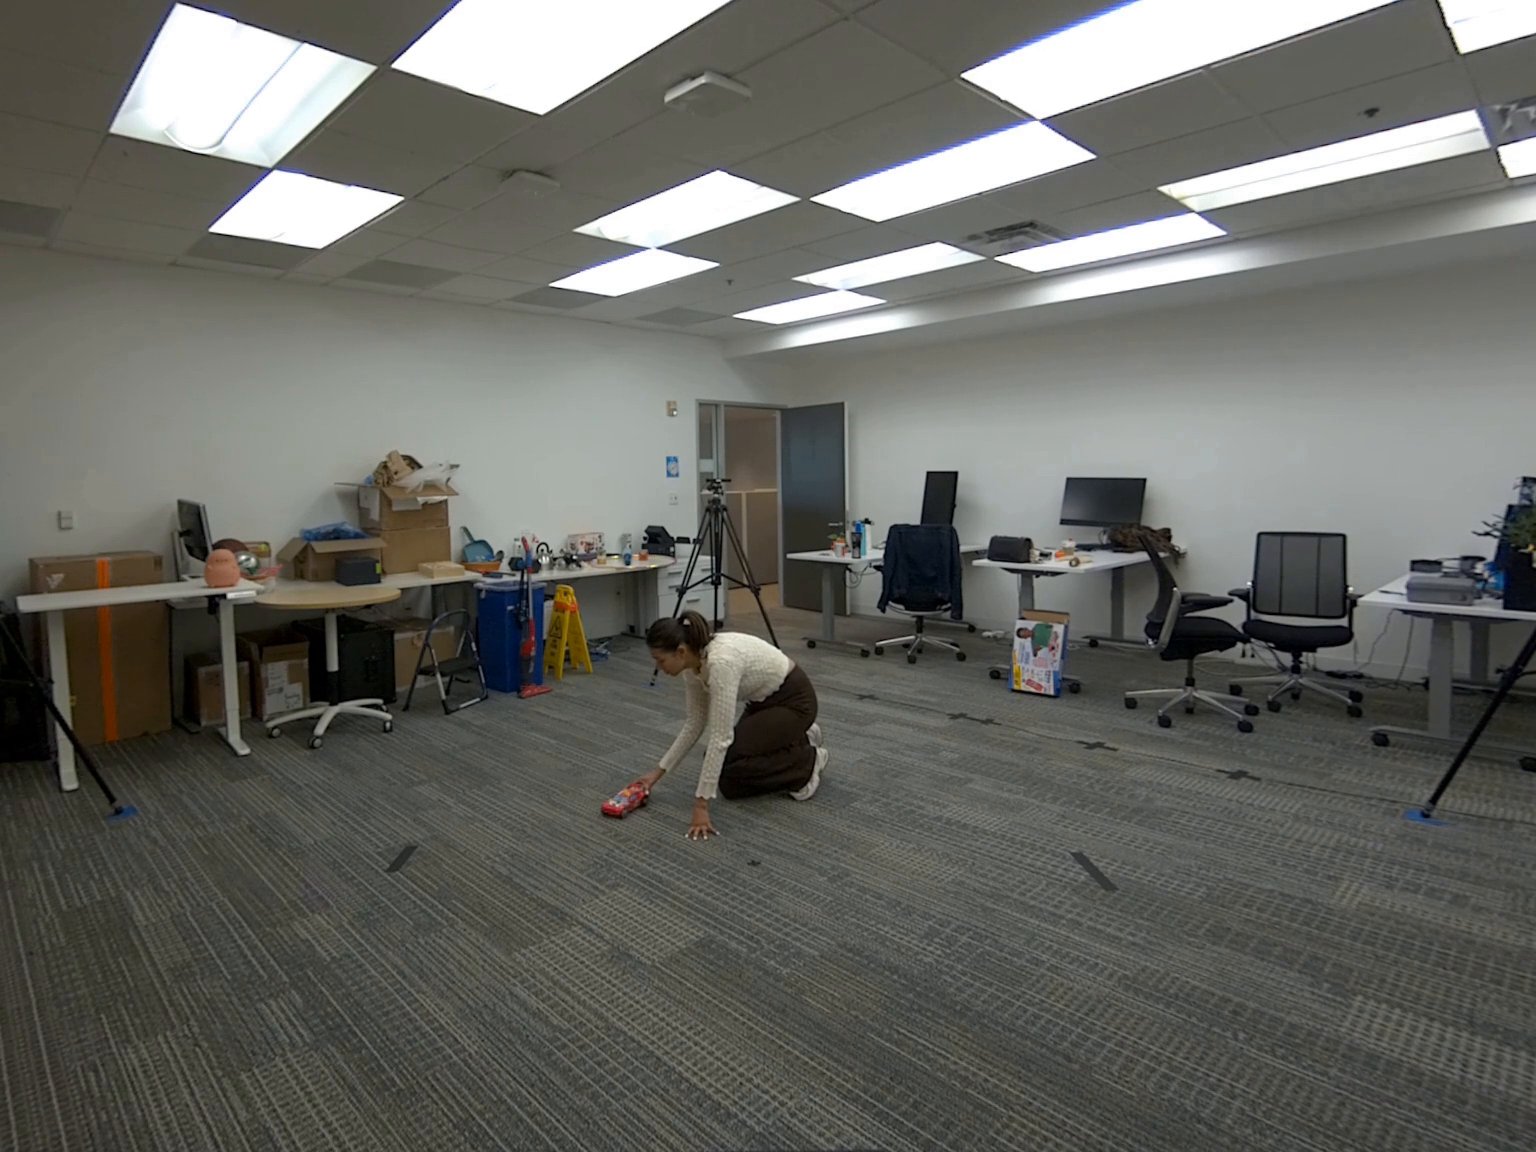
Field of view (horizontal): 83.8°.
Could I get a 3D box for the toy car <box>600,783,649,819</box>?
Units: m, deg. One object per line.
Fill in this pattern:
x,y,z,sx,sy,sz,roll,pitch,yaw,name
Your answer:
-0.601,0.963,3.650,0.133,0.082,0.251,1,17,29,toy car
